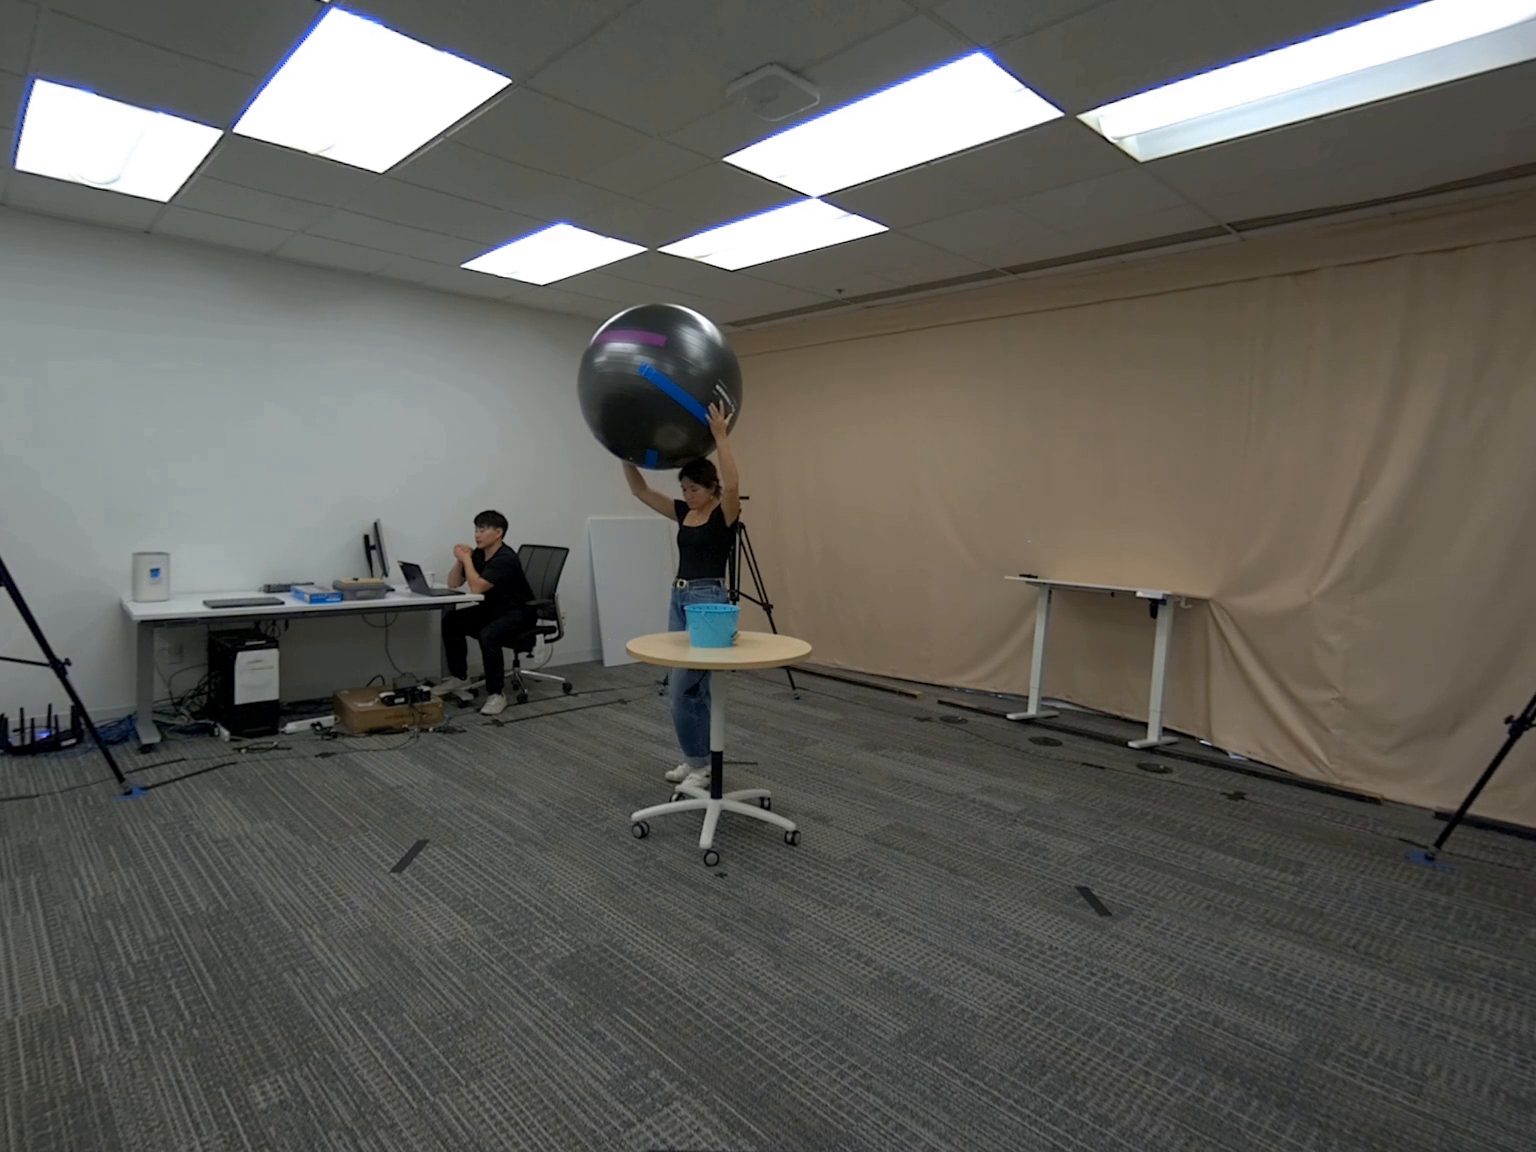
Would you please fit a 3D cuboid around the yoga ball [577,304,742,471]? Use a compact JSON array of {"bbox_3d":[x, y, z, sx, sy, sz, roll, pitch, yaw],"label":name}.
[{"bbox_3d":[-0.504,-0.870,3.903,0.757,0.756,0.761,1,4,-1],"label":"yoga ball"}]
